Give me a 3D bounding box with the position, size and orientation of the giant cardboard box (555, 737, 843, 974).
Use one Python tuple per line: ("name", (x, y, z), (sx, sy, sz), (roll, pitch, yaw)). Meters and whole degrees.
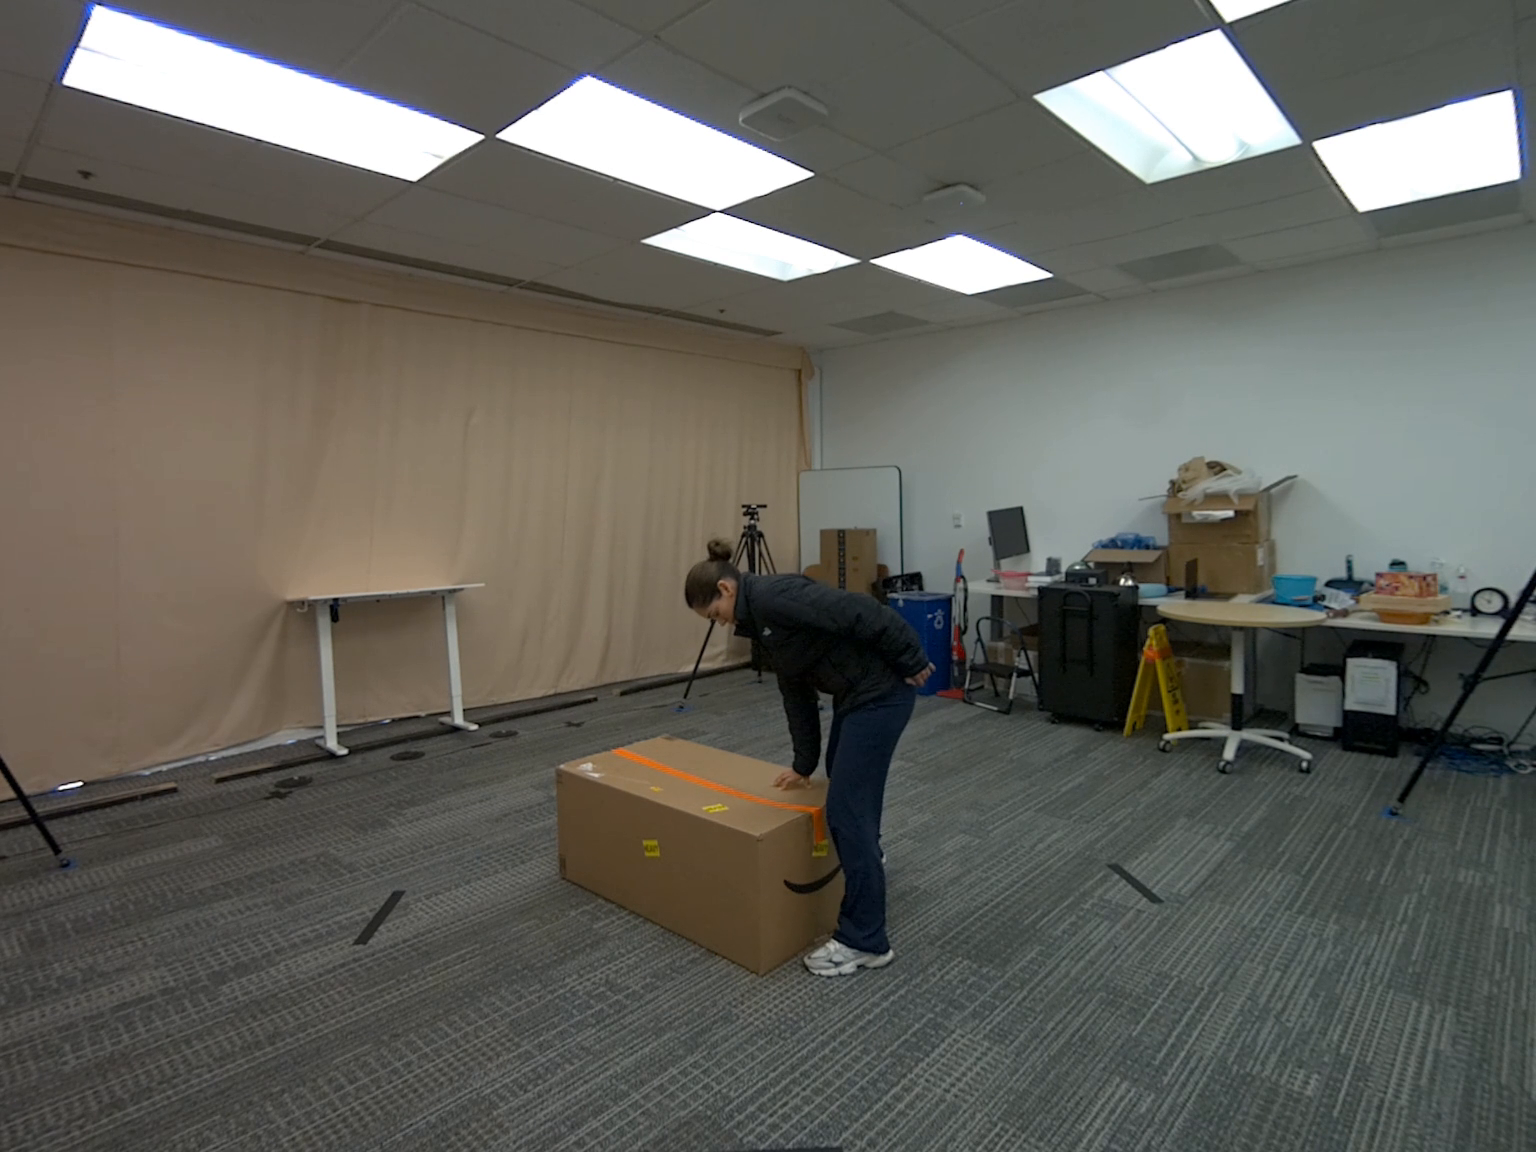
("giant cardboard box", (-0.213, 0.933, 3.033), (1.061, 0.446, 0.566), (2, 4, 42))
